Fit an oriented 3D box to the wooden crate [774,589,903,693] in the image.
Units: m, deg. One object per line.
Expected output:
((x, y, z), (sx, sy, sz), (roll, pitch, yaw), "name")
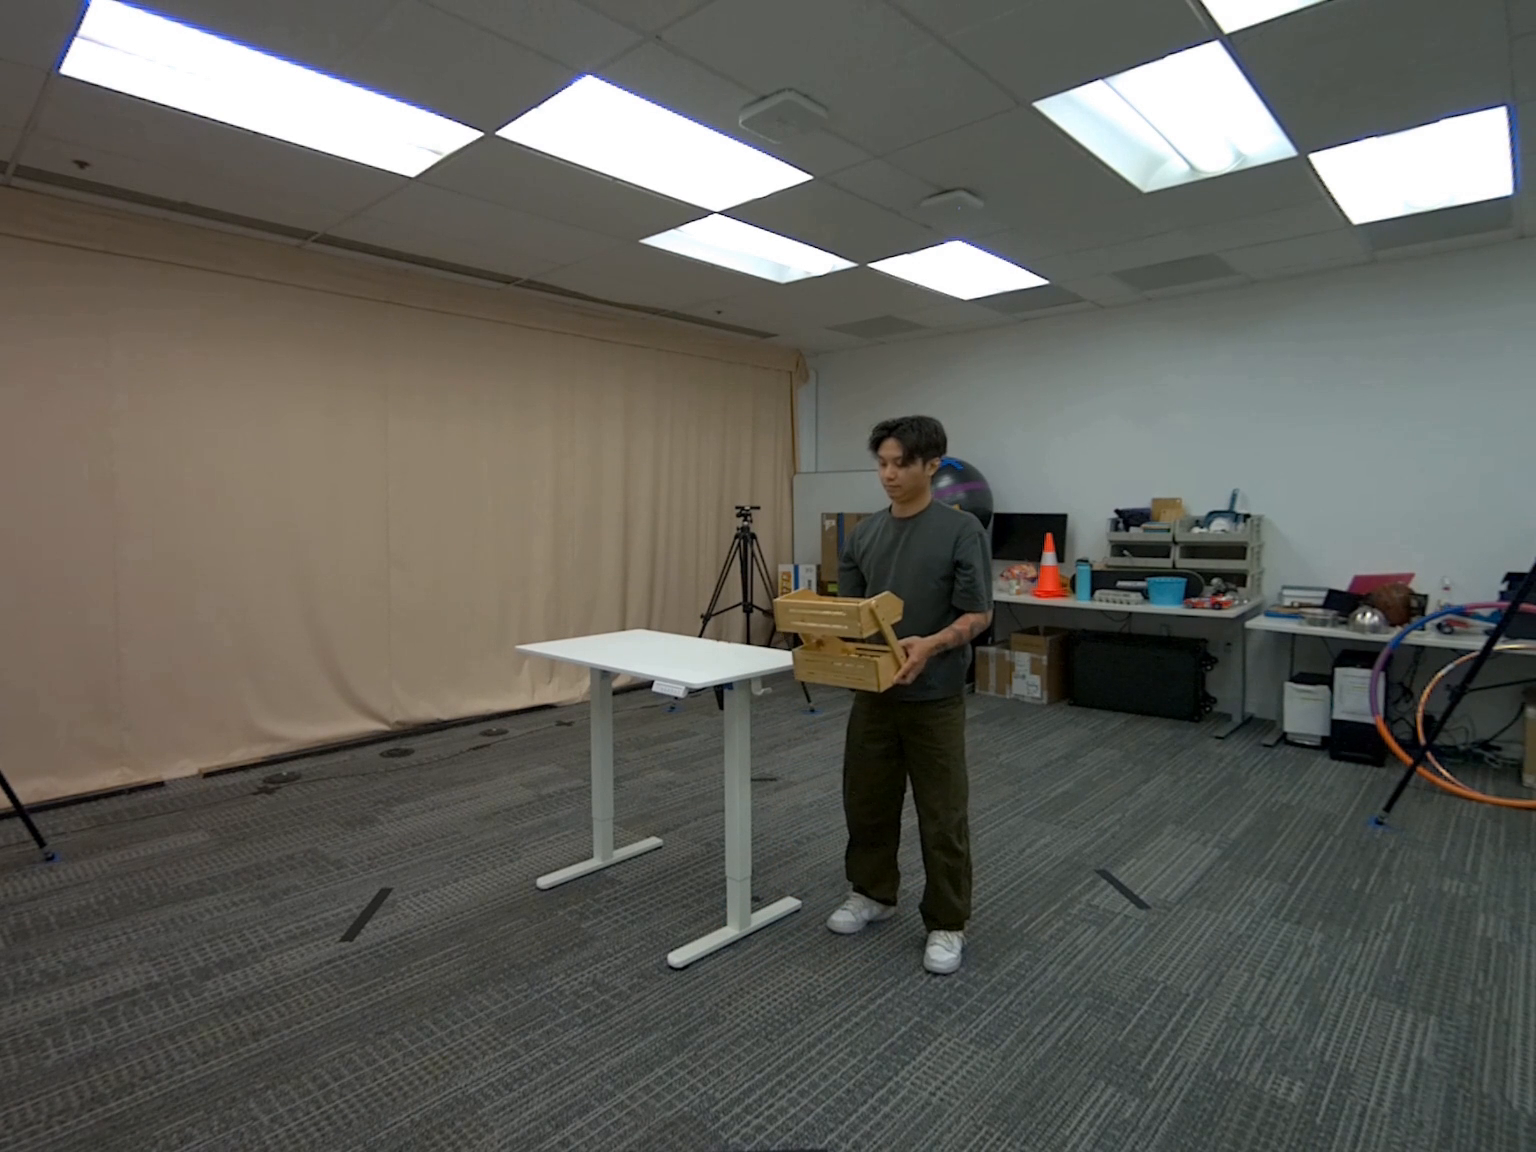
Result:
((0.243, 0.163, 2.453), (0.335, 0.271, 0.294), (1, 14, 44), "wooden crate")
